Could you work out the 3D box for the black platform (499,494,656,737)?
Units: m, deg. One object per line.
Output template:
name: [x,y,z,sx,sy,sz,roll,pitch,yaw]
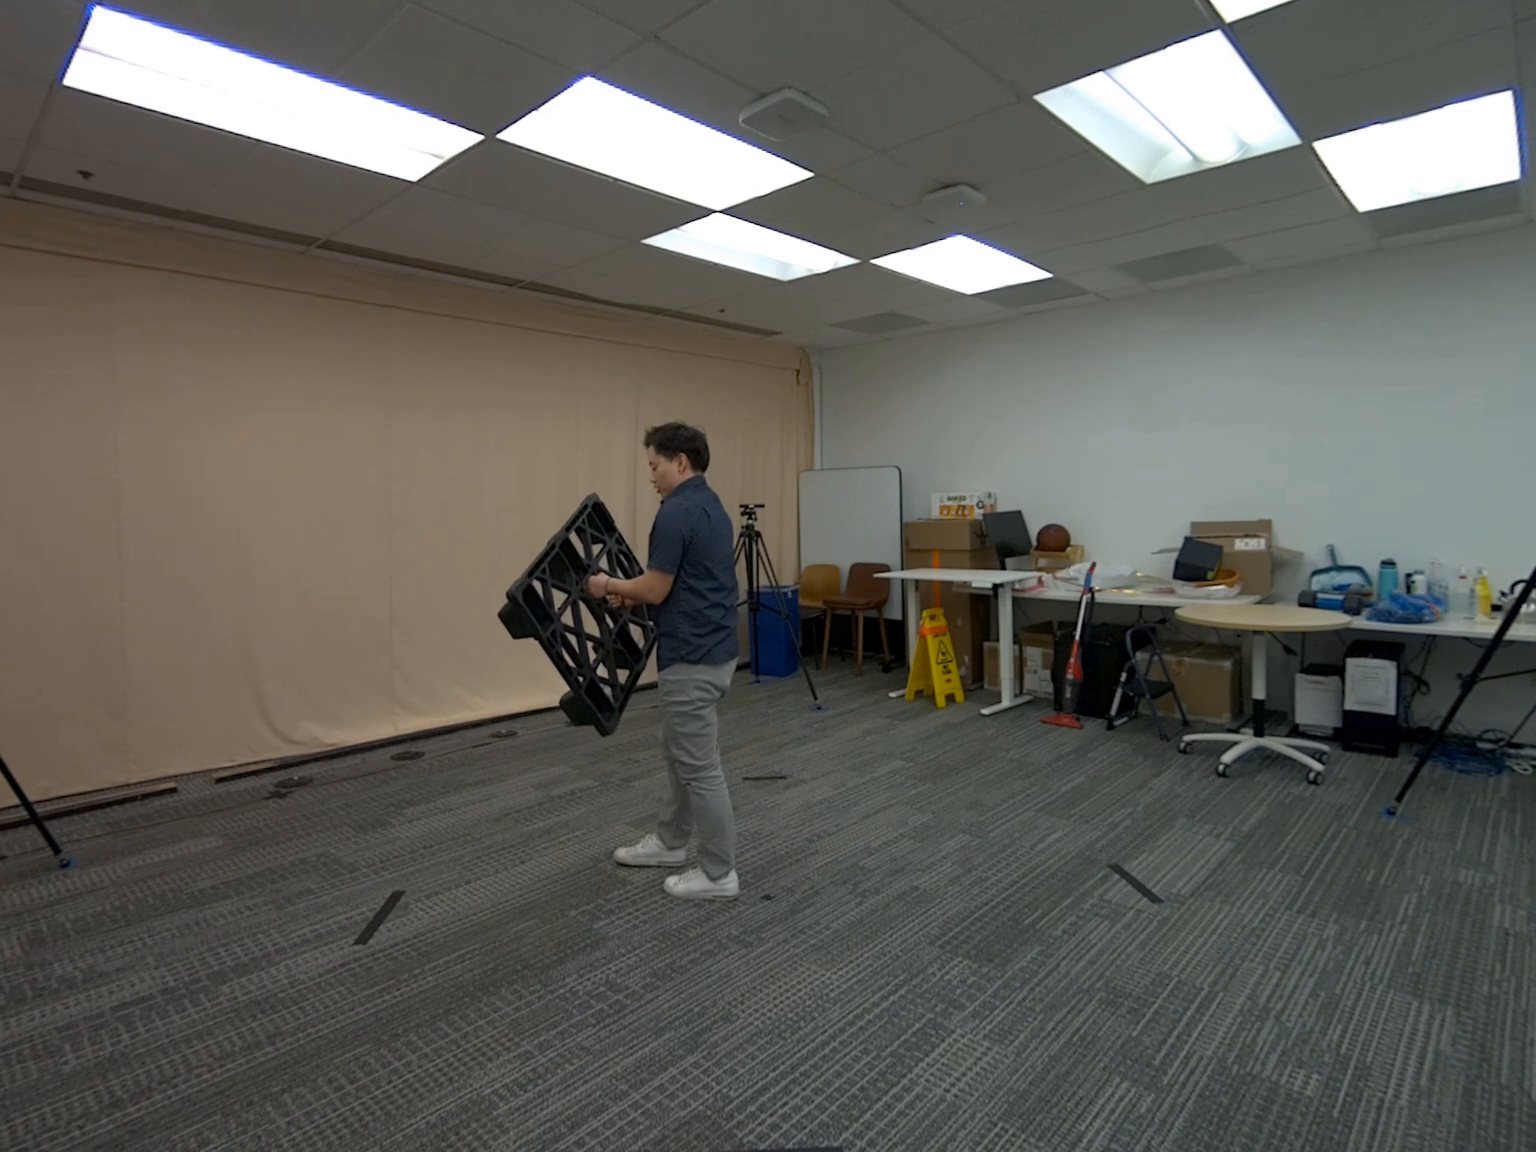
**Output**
black platform: [-0.651,0.112,3.054,0.145,0.593,0.810,-23,22,19]
